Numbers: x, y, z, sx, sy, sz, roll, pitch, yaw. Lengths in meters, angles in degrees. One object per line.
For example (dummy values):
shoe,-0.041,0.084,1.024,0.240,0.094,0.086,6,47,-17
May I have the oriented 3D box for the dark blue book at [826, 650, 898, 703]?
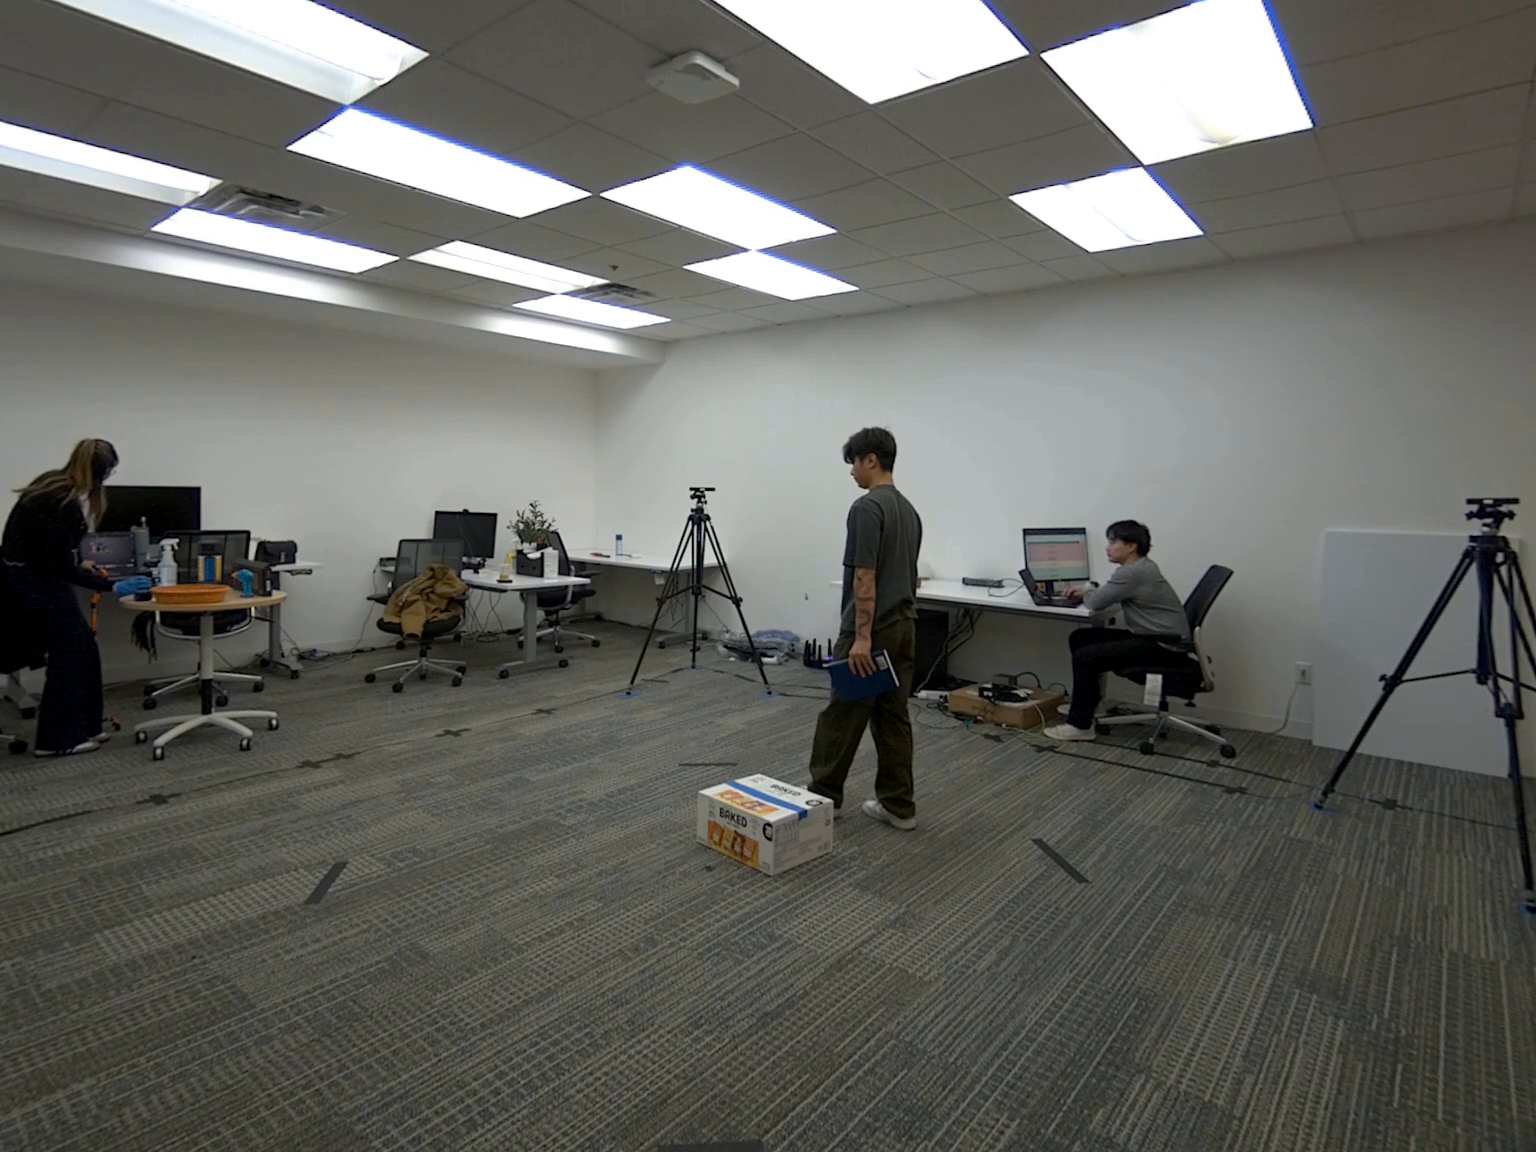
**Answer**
dark blue book,0.367,0.397,3.401,0.248,0.163,0.044,-18,1,20
